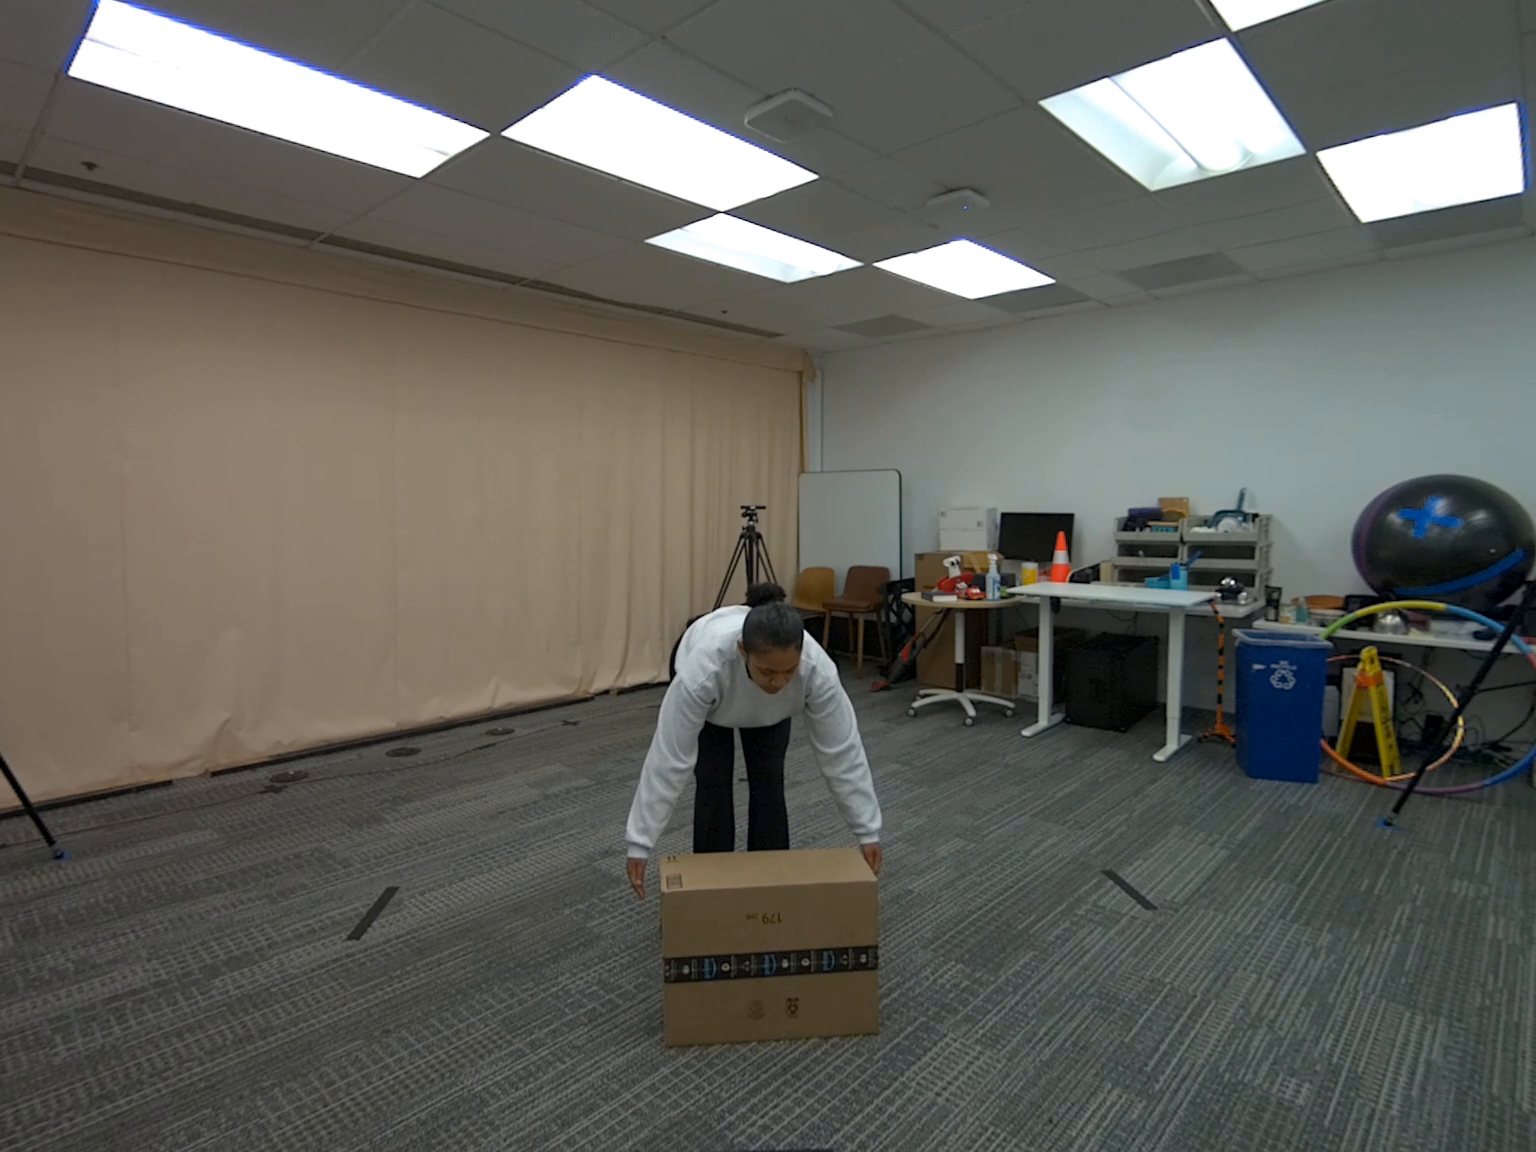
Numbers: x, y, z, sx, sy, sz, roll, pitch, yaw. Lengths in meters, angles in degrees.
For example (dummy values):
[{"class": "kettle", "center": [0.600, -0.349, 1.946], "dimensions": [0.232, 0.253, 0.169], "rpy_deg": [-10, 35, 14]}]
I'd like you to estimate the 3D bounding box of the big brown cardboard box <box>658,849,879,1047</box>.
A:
[{"class": "big brown cardboard box", "center": [-0.003, 0.994, 2.278], "dimensions": [0.587, 0.416, 0.234], "rpy_deg": [0, 4, -3]}]
